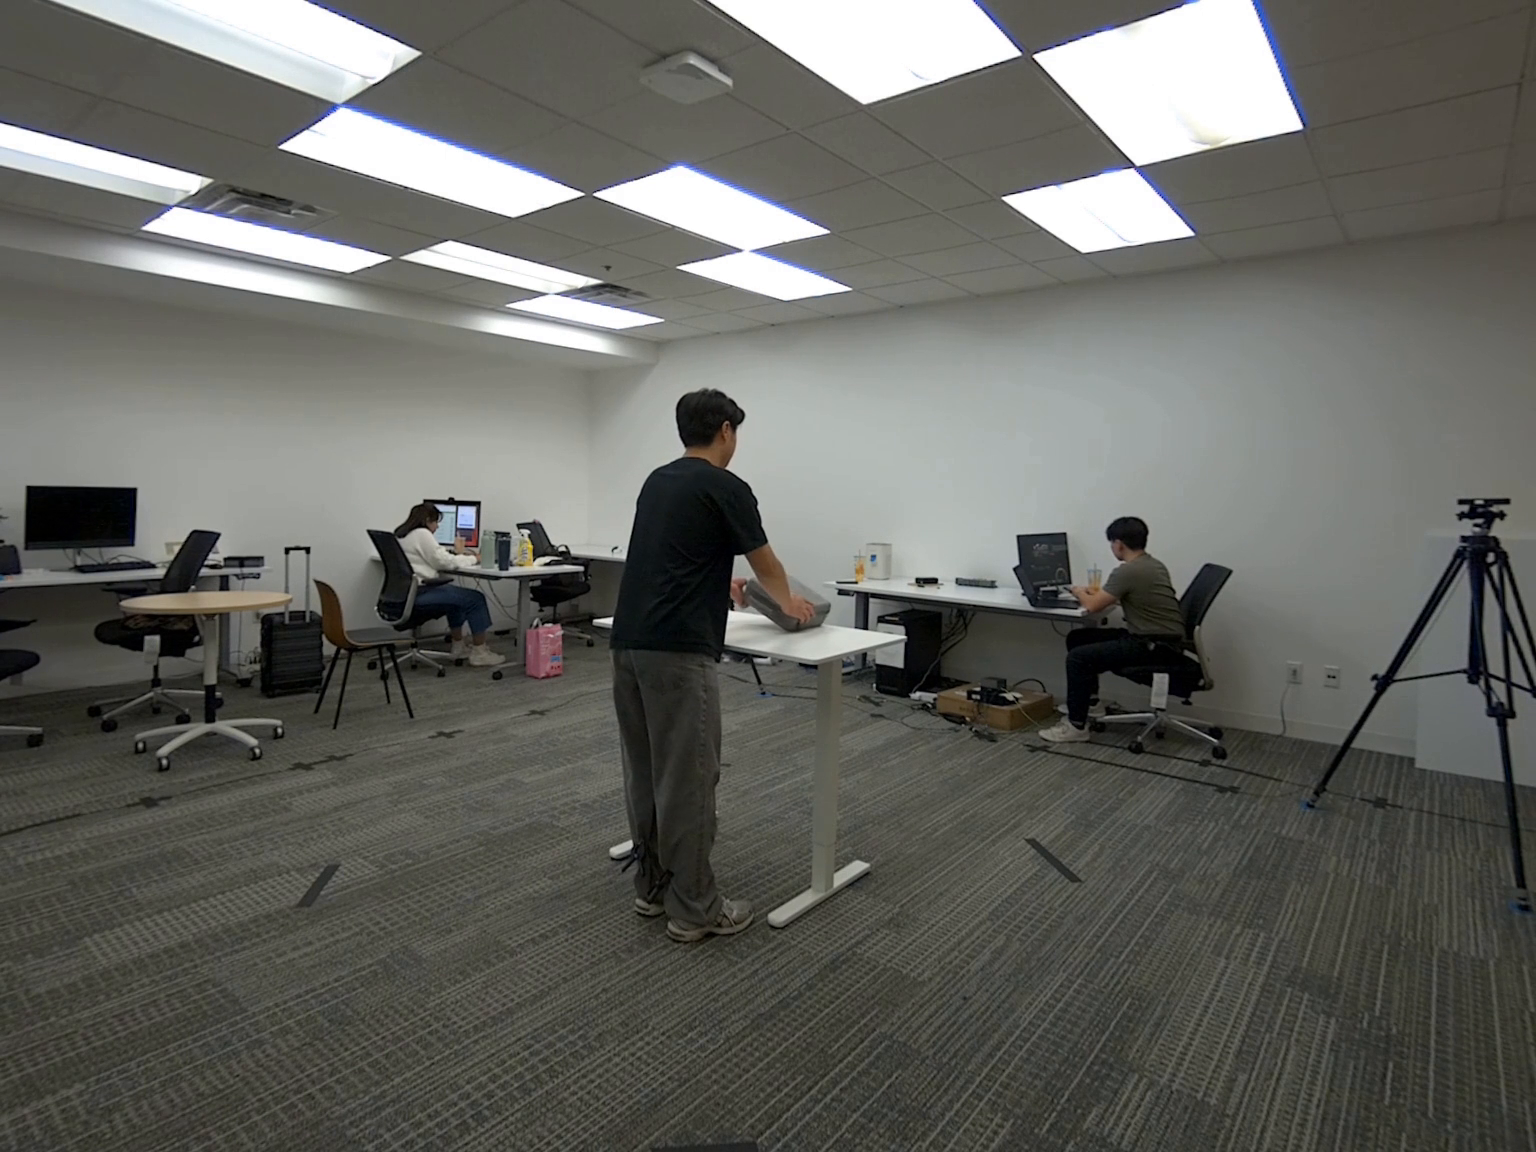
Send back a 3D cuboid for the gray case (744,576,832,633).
[{"bbox_3d":[0.077,0.094,3.195,0.267,0.103,0.253,35,25,34],"label":"gray case"}]
